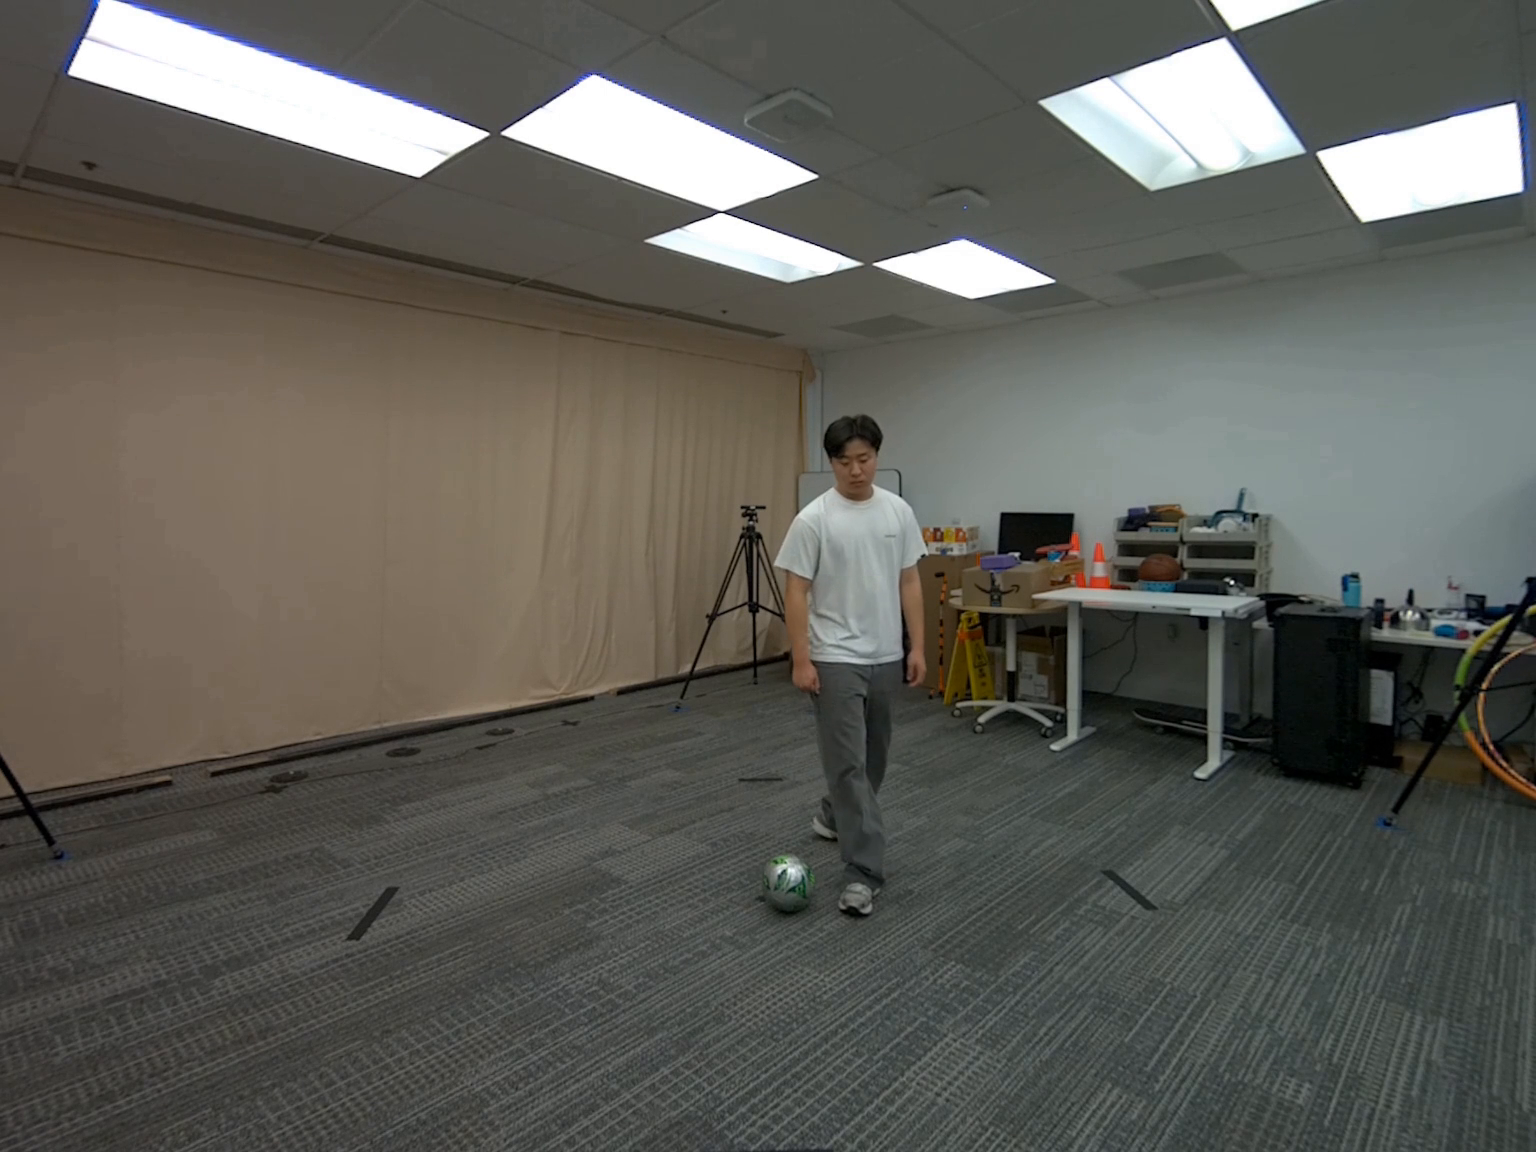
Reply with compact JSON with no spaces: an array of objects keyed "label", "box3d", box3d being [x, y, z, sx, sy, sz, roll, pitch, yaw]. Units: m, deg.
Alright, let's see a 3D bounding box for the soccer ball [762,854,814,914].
[{"label":"soccer ball","box3d":[0.076,1.058,2.903,0.187,0.187,0.188,0,4,-2]}]
